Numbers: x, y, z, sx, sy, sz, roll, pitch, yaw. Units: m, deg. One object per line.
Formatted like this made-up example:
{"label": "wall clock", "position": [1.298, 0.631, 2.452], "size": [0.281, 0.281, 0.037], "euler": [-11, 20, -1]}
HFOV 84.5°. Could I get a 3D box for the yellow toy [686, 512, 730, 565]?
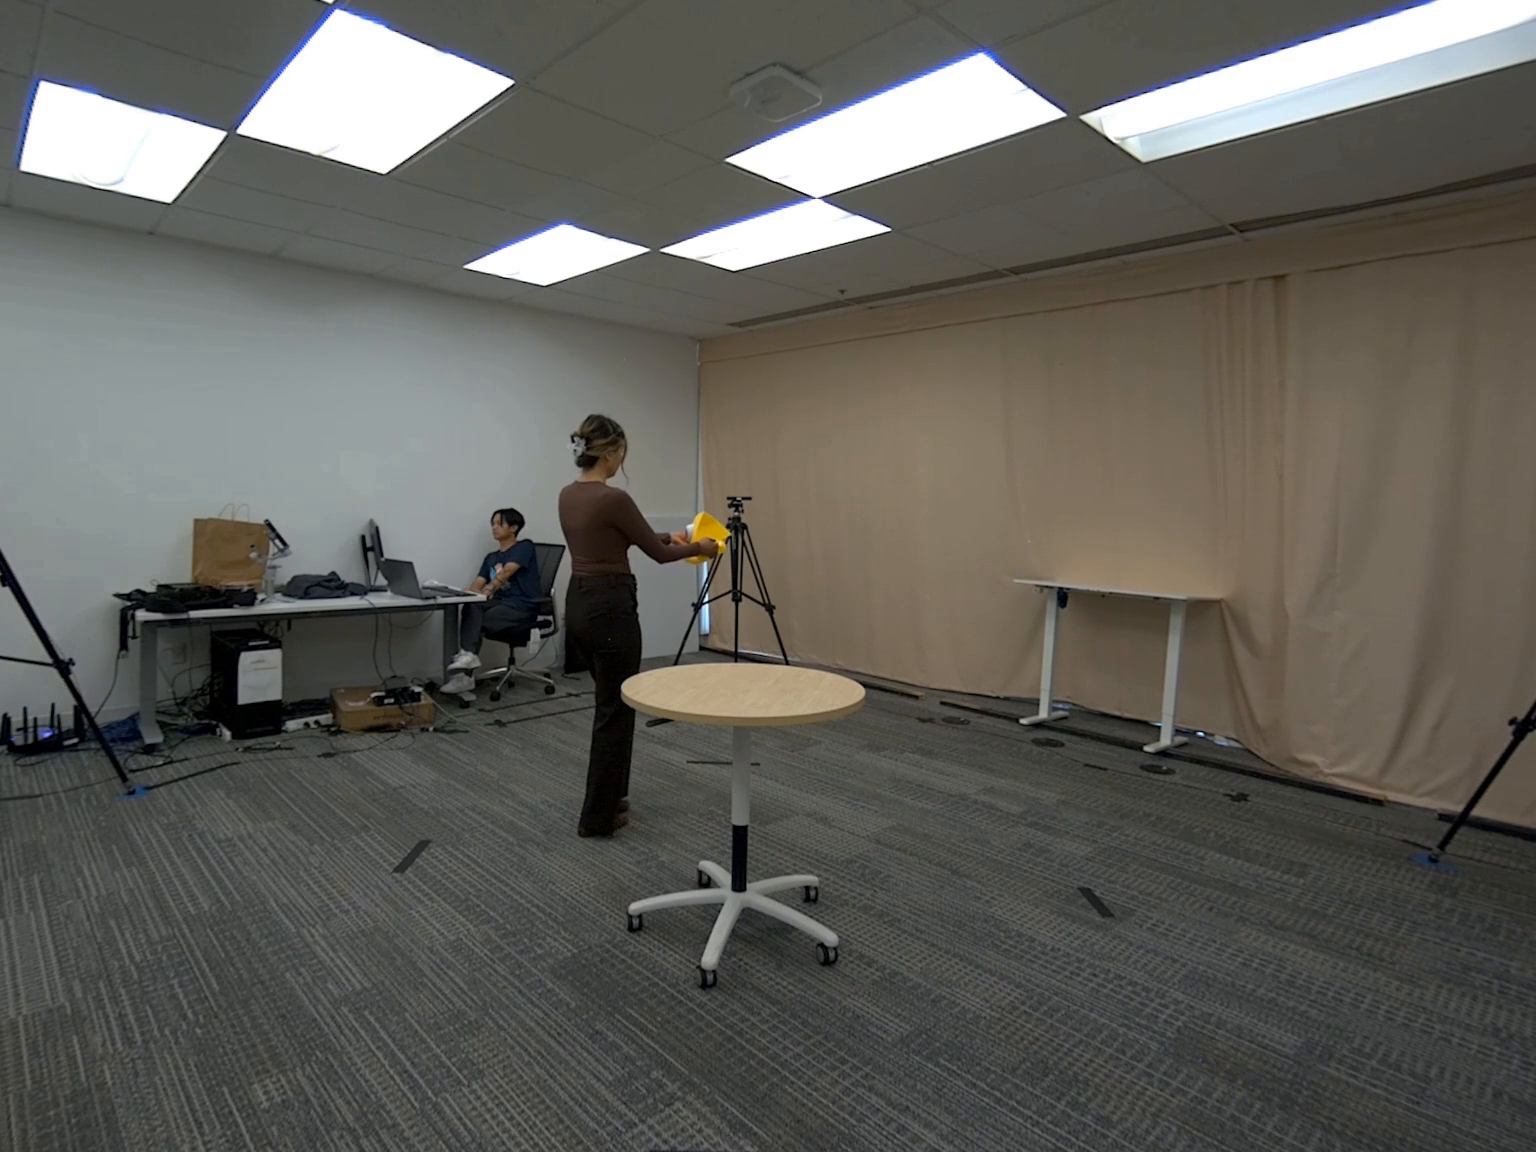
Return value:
{"label": "yellow toy", "position": [-0.313, -0.201, 3.780], "size": [0.203, 0.226, 0.199], "euler": [-29, 33, -30]}
